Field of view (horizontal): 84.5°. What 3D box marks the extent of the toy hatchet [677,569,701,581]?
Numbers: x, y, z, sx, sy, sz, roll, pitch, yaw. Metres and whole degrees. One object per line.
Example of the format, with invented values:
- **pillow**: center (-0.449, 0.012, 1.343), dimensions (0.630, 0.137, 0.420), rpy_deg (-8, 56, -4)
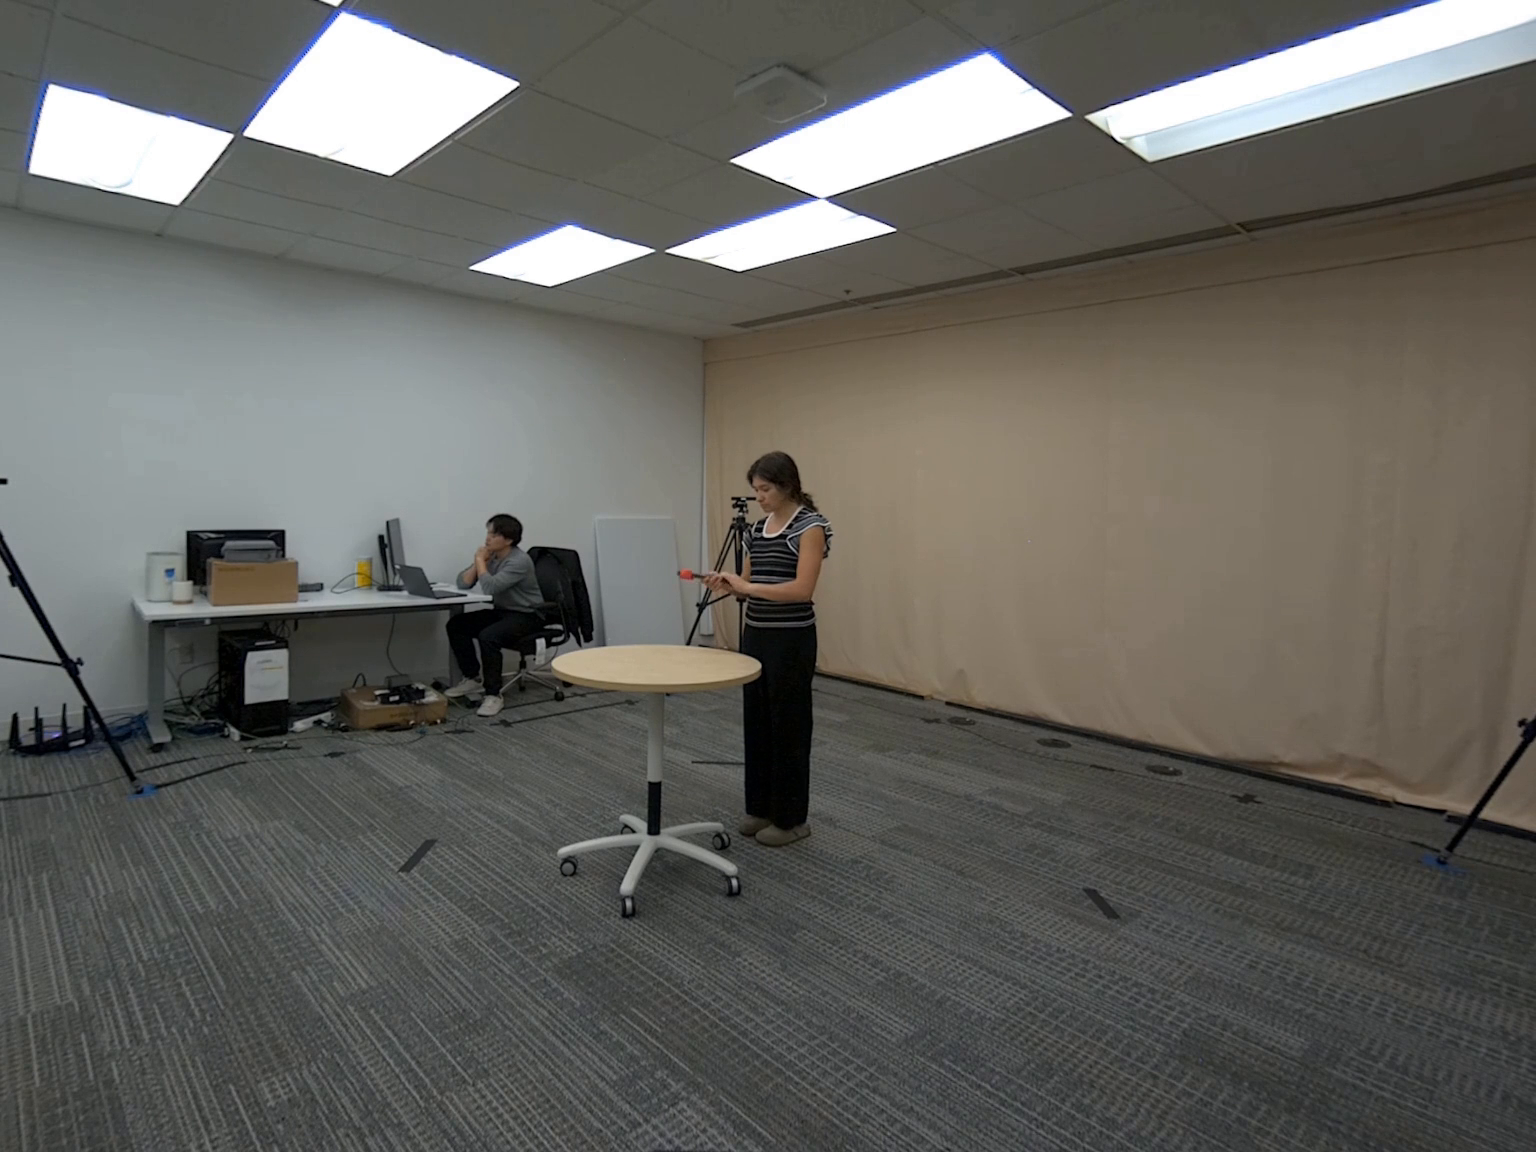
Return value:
- **toy hatchet**: center (-0.238, 0.012, 3.369), dimensions (0.263, 0.030, 0.133), rpy_deg (12, -15, -31)
